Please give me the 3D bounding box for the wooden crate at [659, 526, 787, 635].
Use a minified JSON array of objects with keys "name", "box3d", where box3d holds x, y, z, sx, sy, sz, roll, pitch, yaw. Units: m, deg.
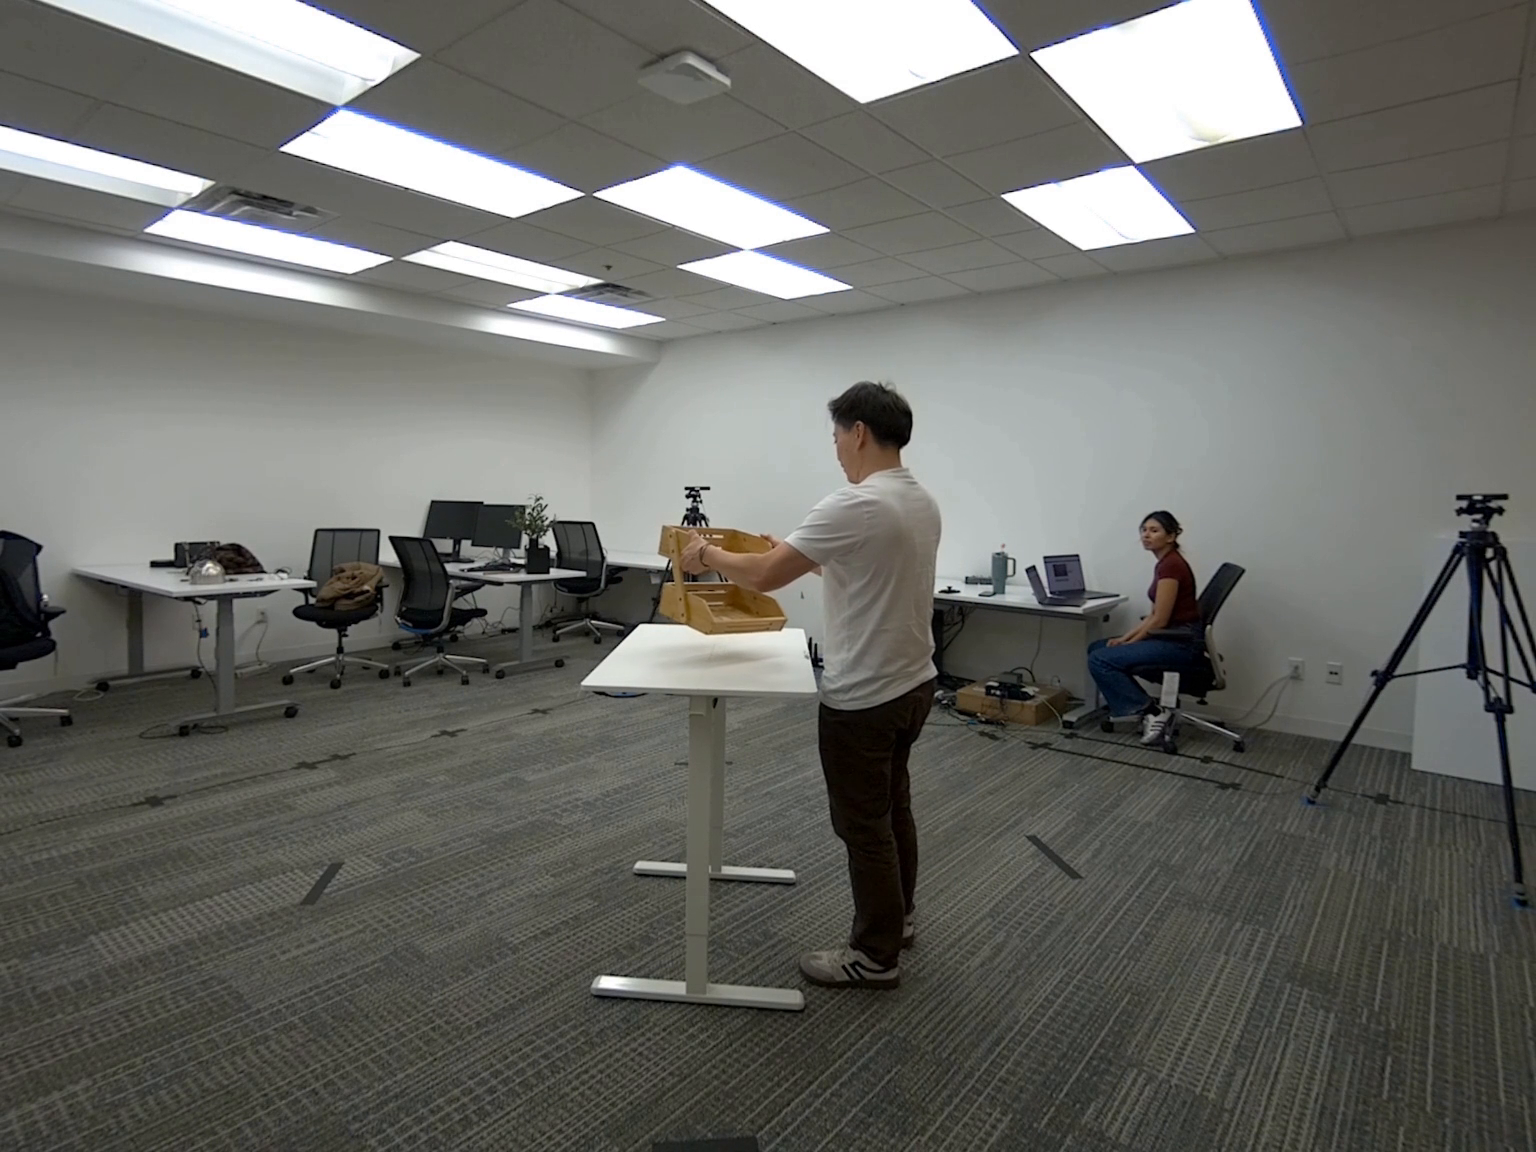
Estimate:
[{"name":"wooden crate","box3d":[-0.138,0.002,2.573,0.314,0.272,0.314,2,11,-43]}]
